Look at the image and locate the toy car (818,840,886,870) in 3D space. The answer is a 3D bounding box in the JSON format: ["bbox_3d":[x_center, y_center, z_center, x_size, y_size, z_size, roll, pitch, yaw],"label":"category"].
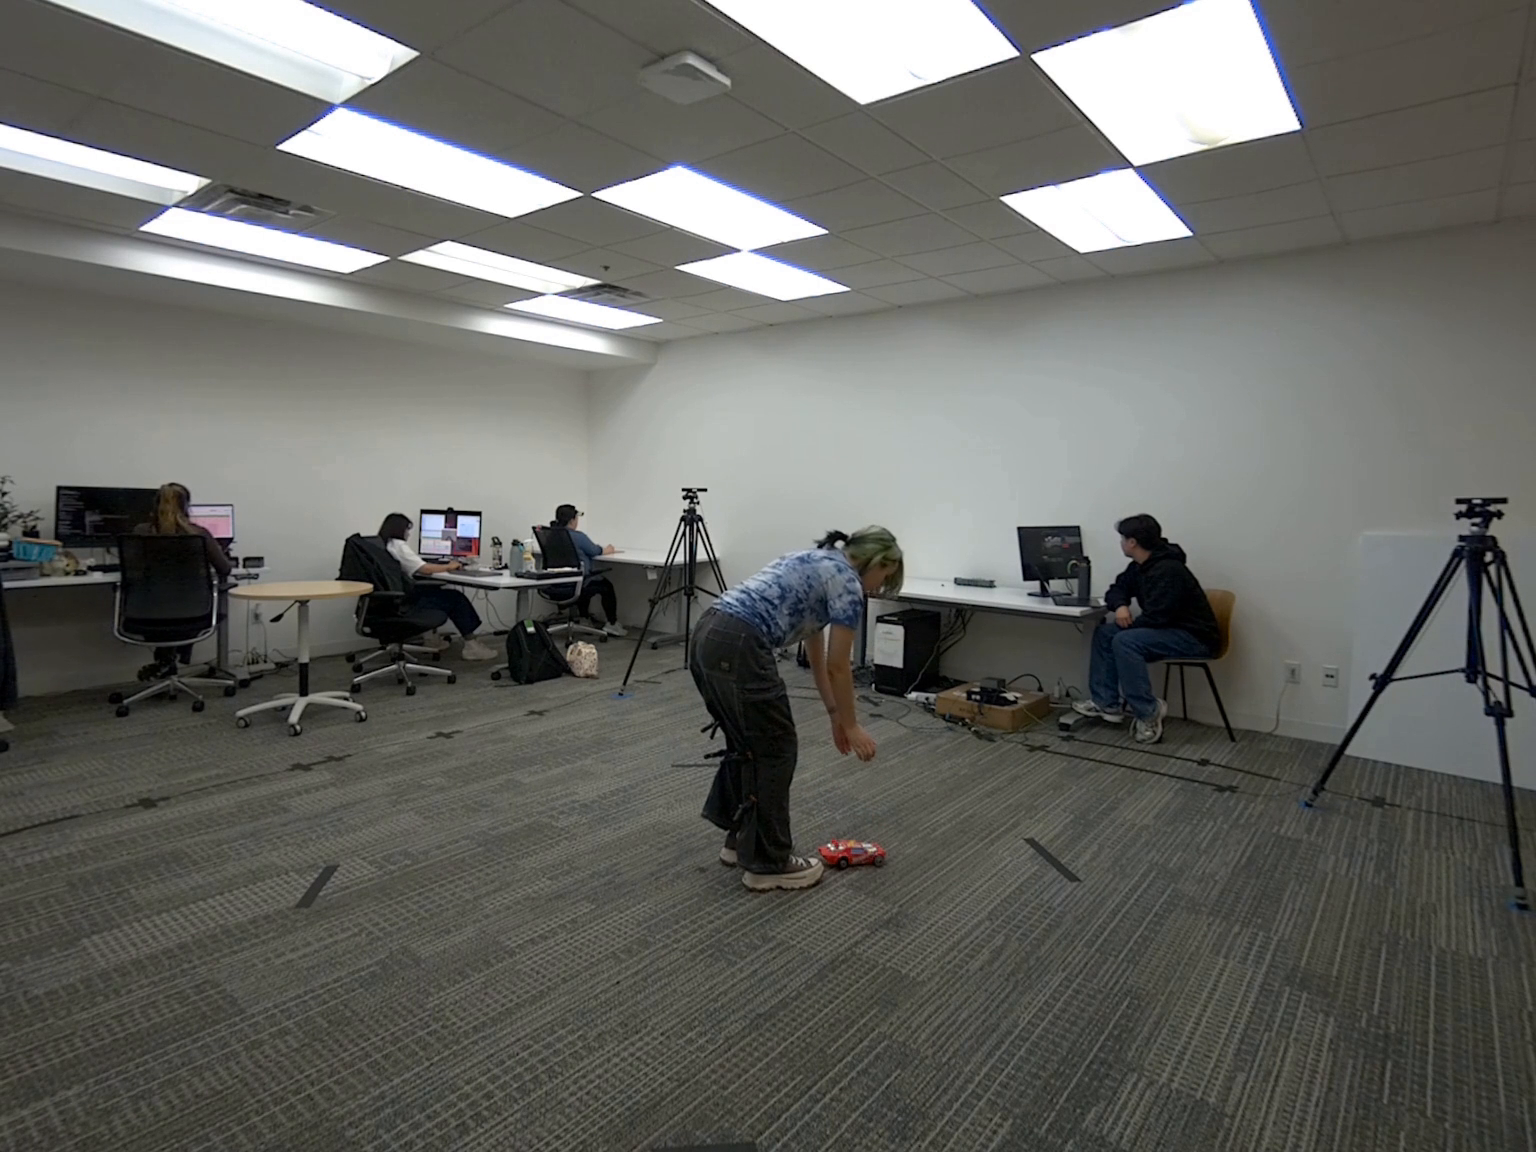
[{"bbox_3d":[0.304,1.043,3.190,0.250,0.083,0.133,11,3,-15],"label":"toy car"}]
